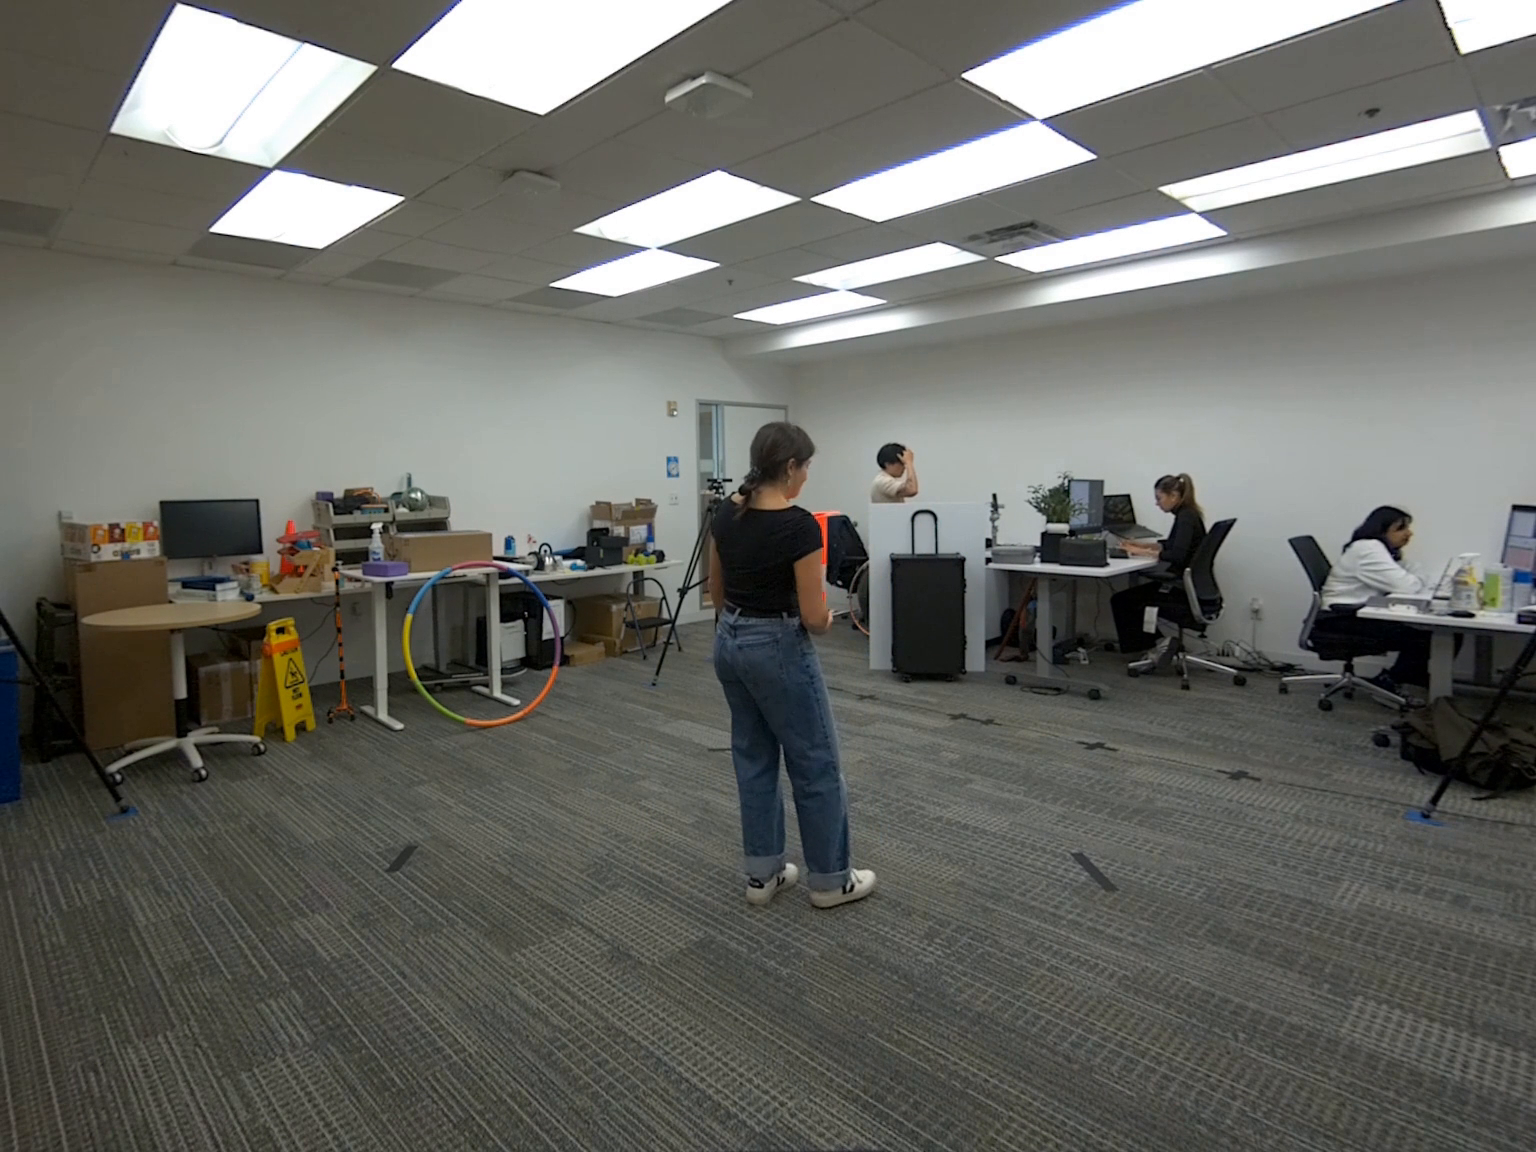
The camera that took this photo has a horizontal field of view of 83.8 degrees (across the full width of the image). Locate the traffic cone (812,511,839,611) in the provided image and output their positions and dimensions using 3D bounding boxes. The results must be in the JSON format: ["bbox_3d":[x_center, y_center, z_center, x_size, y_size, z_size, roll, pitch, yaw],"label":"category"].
[{"bbox_3d":[0.152,-0.007,2.869,0.206,0.380,0.204,-9,9,5],"label":"traffic cone"}]
